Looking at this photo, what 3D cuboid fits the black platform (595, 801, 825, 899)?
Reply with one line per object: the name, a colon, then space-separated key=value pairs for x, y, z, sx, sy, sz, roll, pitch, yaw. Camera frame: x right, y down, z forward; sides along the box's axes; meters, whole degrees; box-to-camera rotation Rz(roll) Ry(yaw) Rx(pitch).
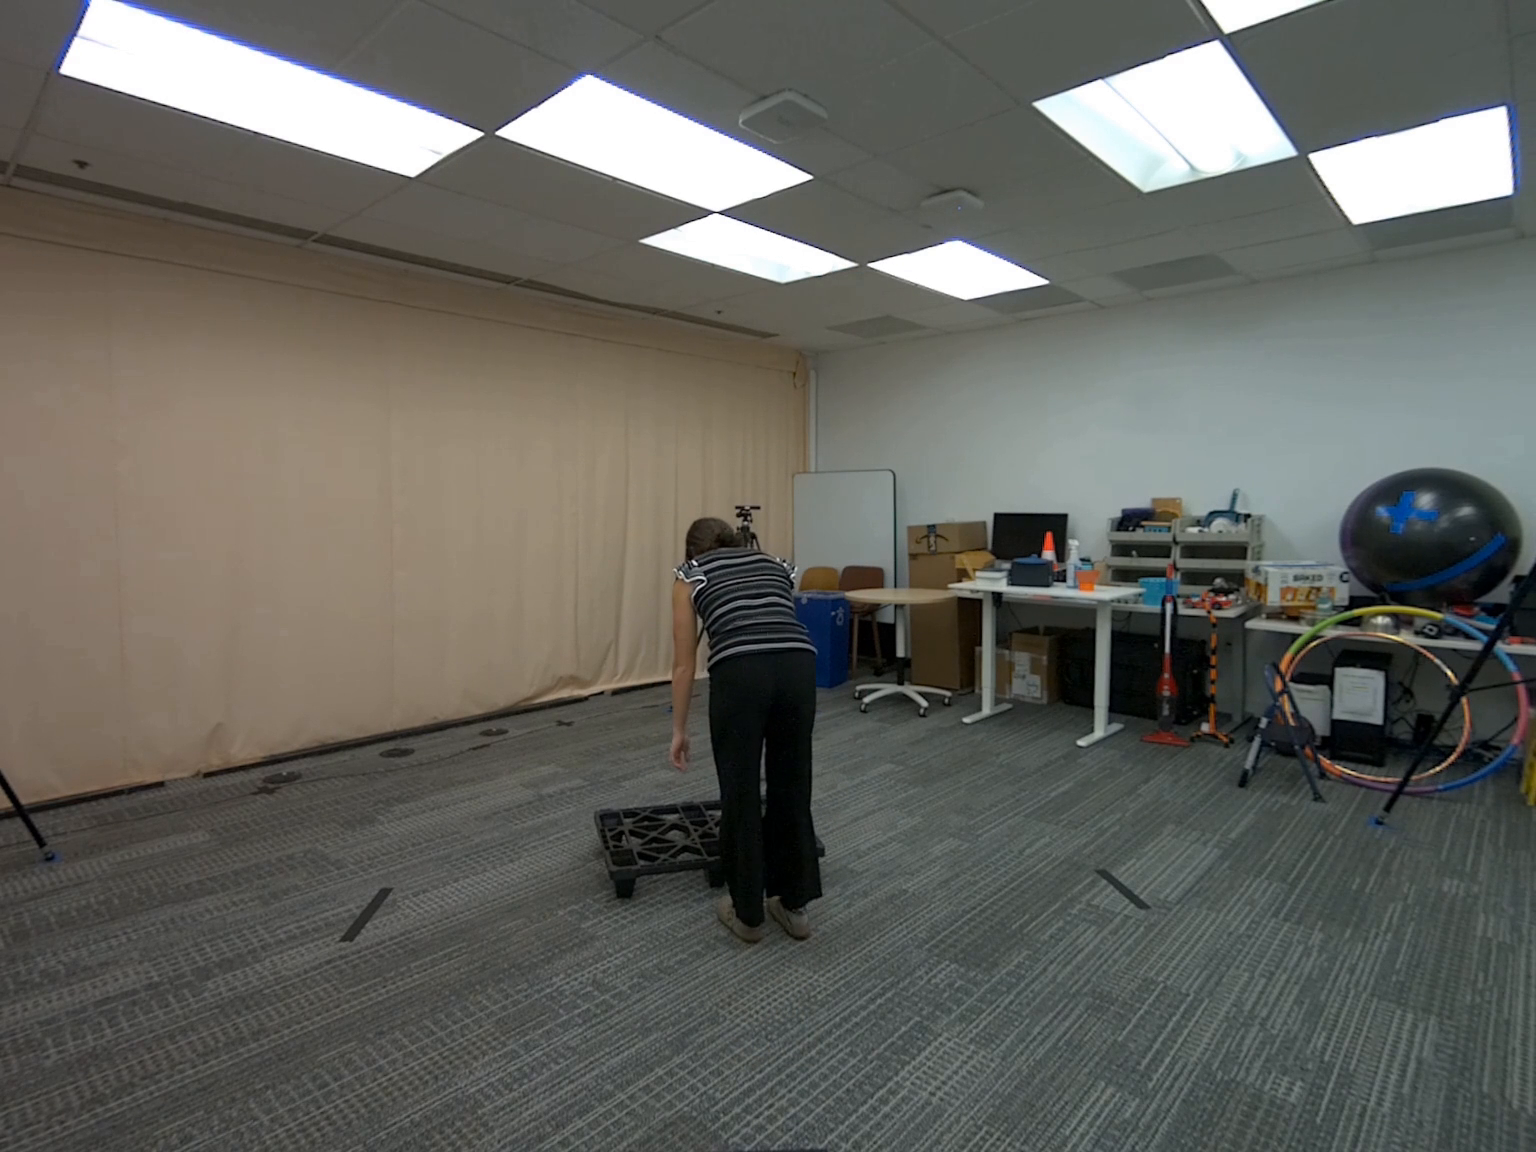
black platform: x=-0.252 y=1.052 z=3.298 sx=0.794 sy=0.143 sz=0.615 roll=-1 pitch=4 yaw=-15
